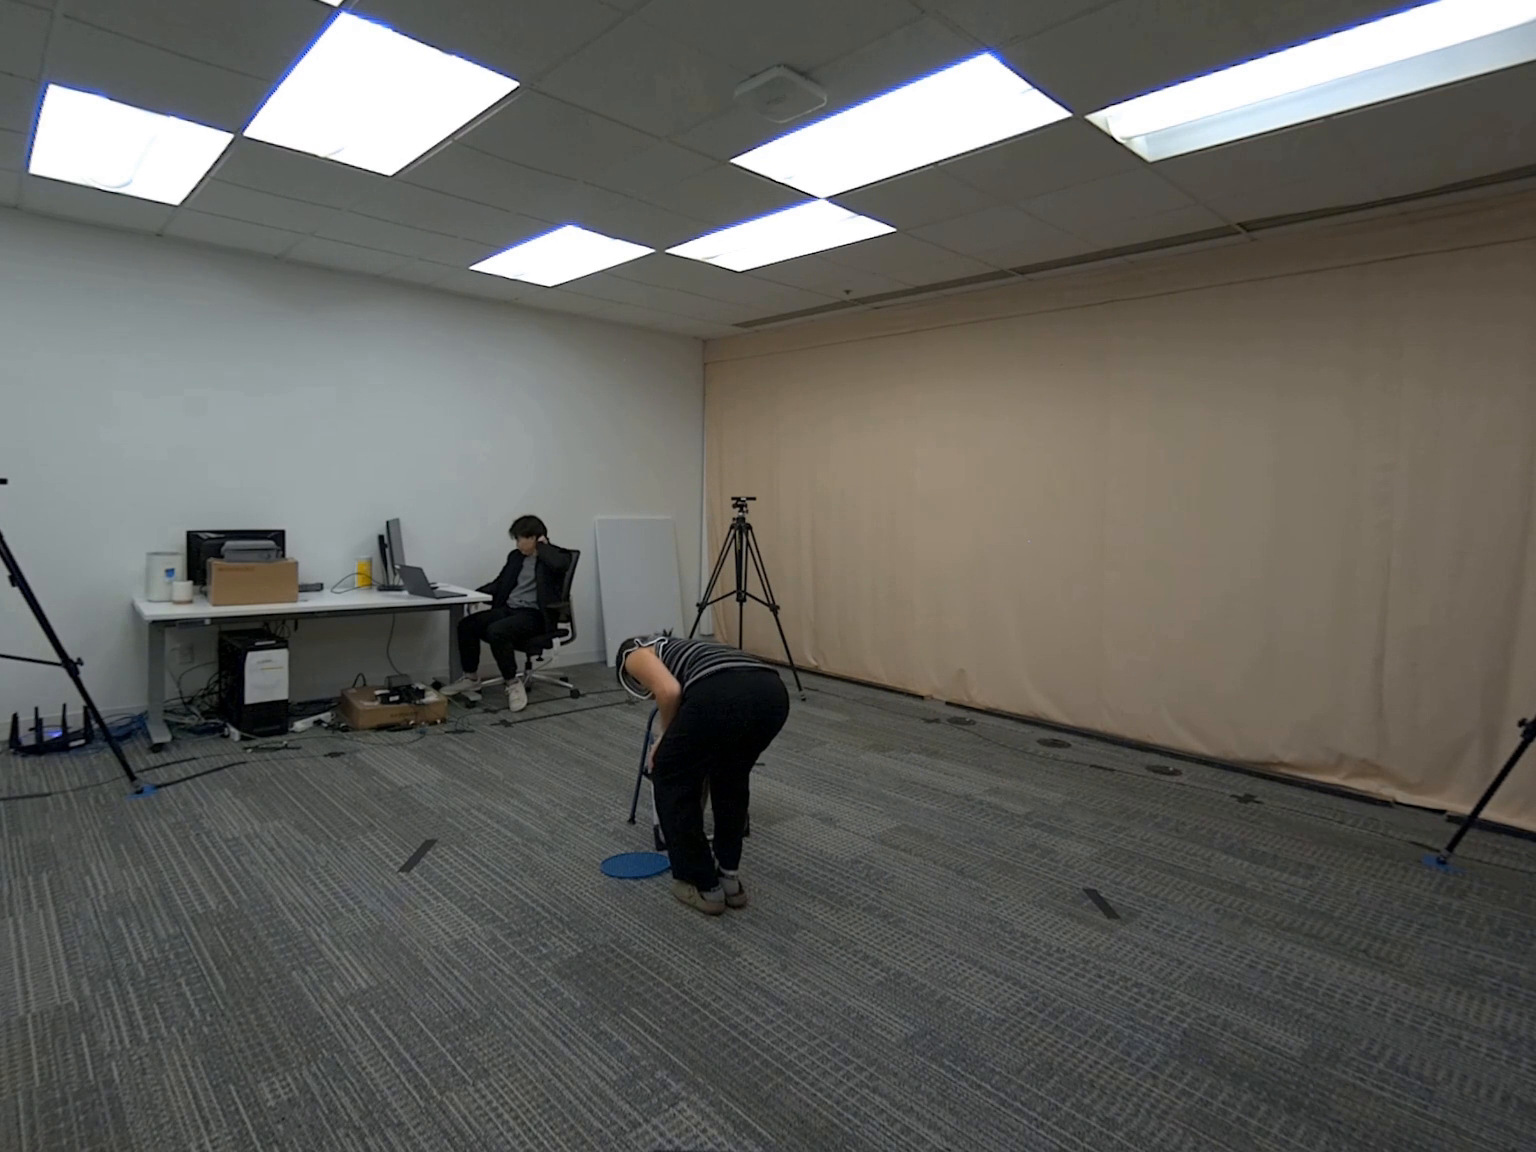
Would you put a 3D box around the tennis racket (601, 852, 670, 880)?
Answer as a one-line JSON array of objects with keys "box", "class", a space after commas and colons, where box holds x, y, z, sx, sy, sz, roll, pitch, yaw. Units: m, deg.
[{"box": [-0.424, 1.078, 3.167, 0.430, 0.031, 0.216, -1, 6, -8], "class": "tennis racket"}]
